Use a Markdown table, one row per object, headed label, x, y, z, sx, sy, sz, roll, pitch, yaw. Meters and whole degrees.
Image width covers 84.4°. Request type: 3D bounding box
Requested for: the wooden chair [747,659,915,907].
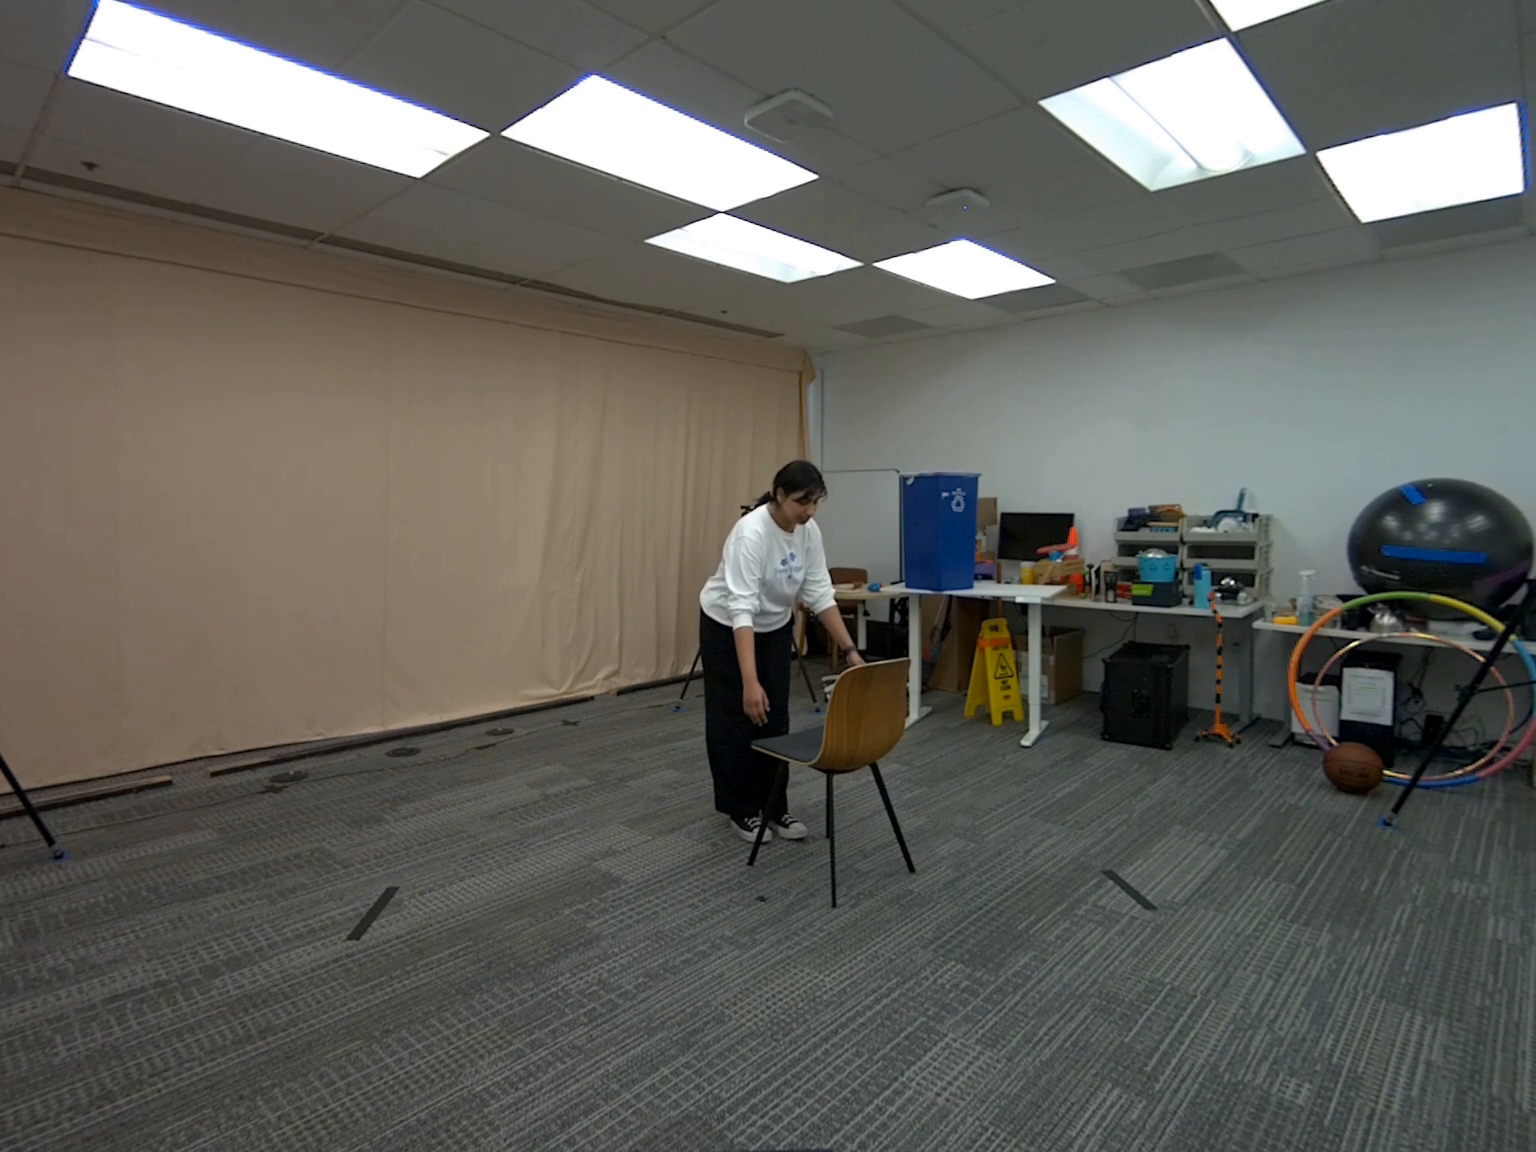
| label | x | y | z | sx | sy | sz | roll | pitch | yaw |
| --- | --- | --- | --- | --- | --- | --- | --- | --- | --- |
| wooden chair | 0.241 | 0.697 | 3.200 | 0.463 | 0.874 | 0.541 | -3 | 9 | -42 |
